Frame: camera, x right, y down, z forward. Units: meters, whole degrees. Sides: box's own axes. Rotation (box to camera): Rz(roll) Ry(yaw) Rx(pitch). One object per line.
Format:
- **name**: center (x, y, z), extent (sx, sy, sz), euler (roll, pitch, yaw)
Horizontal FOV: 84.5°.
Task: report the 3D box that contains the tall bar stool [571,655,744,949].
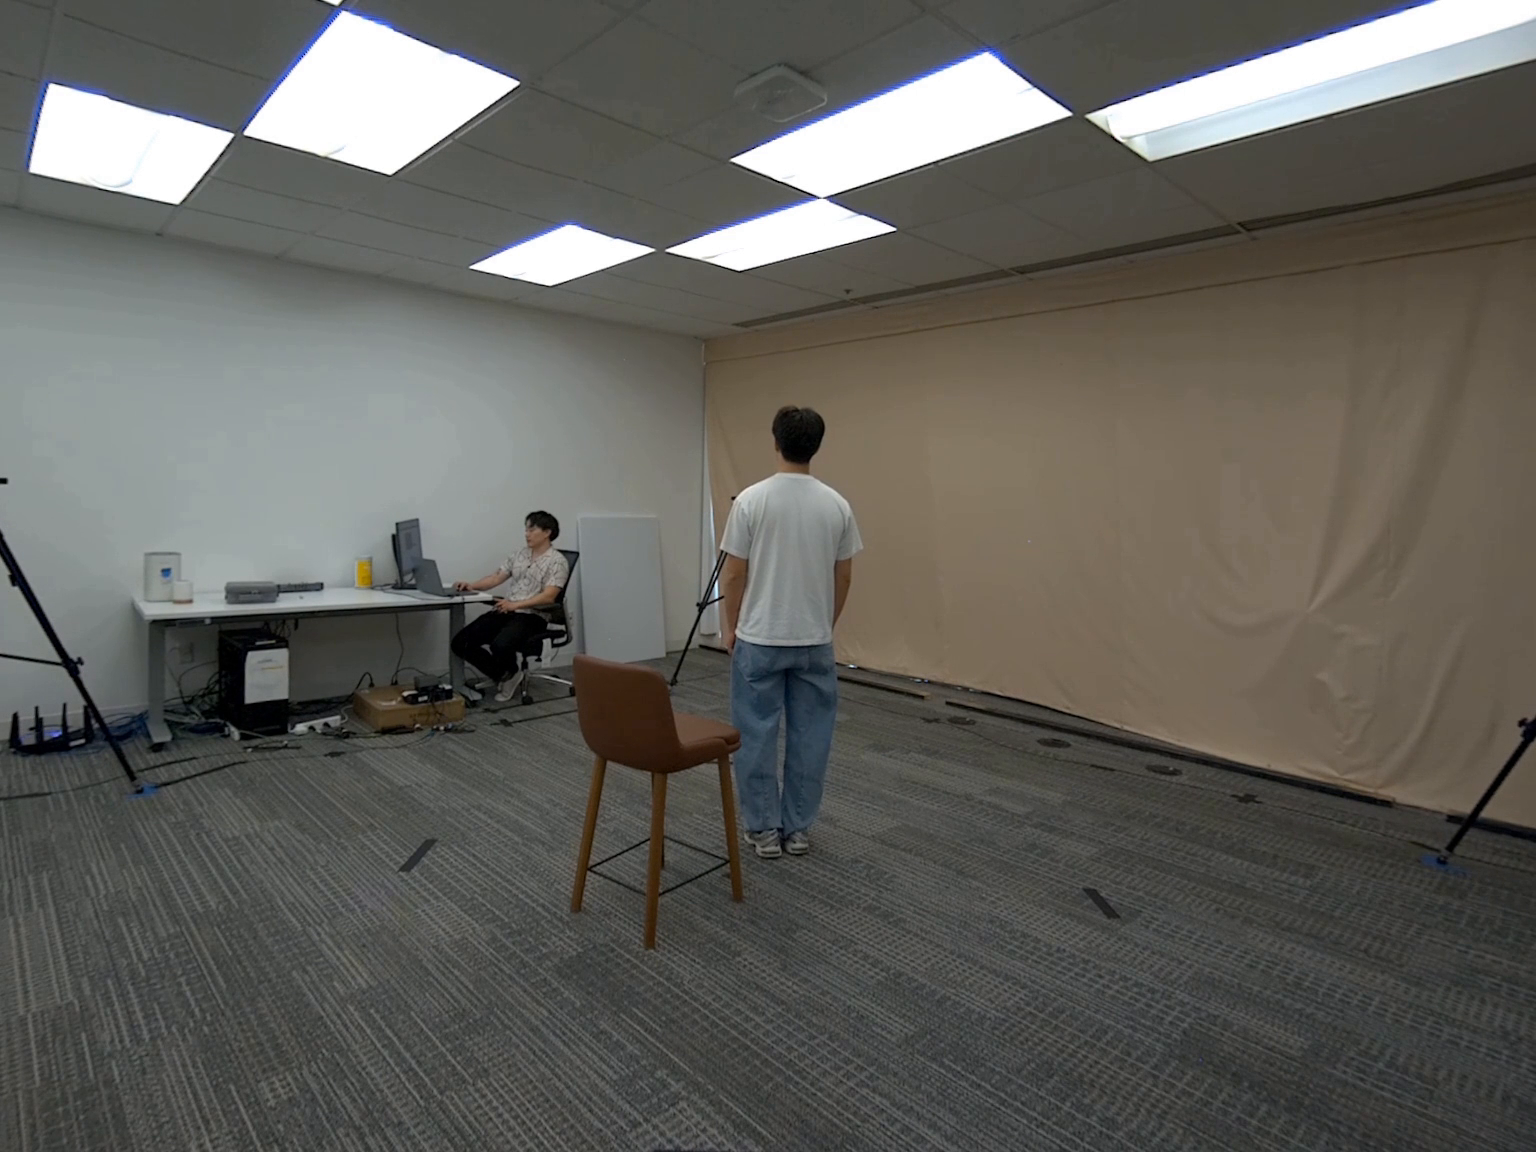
- **tall bar stool**: center (-0.382, 0.688, 2.845), extent (0.468, 0.886, 0.458), euler (4, 6, 38)
